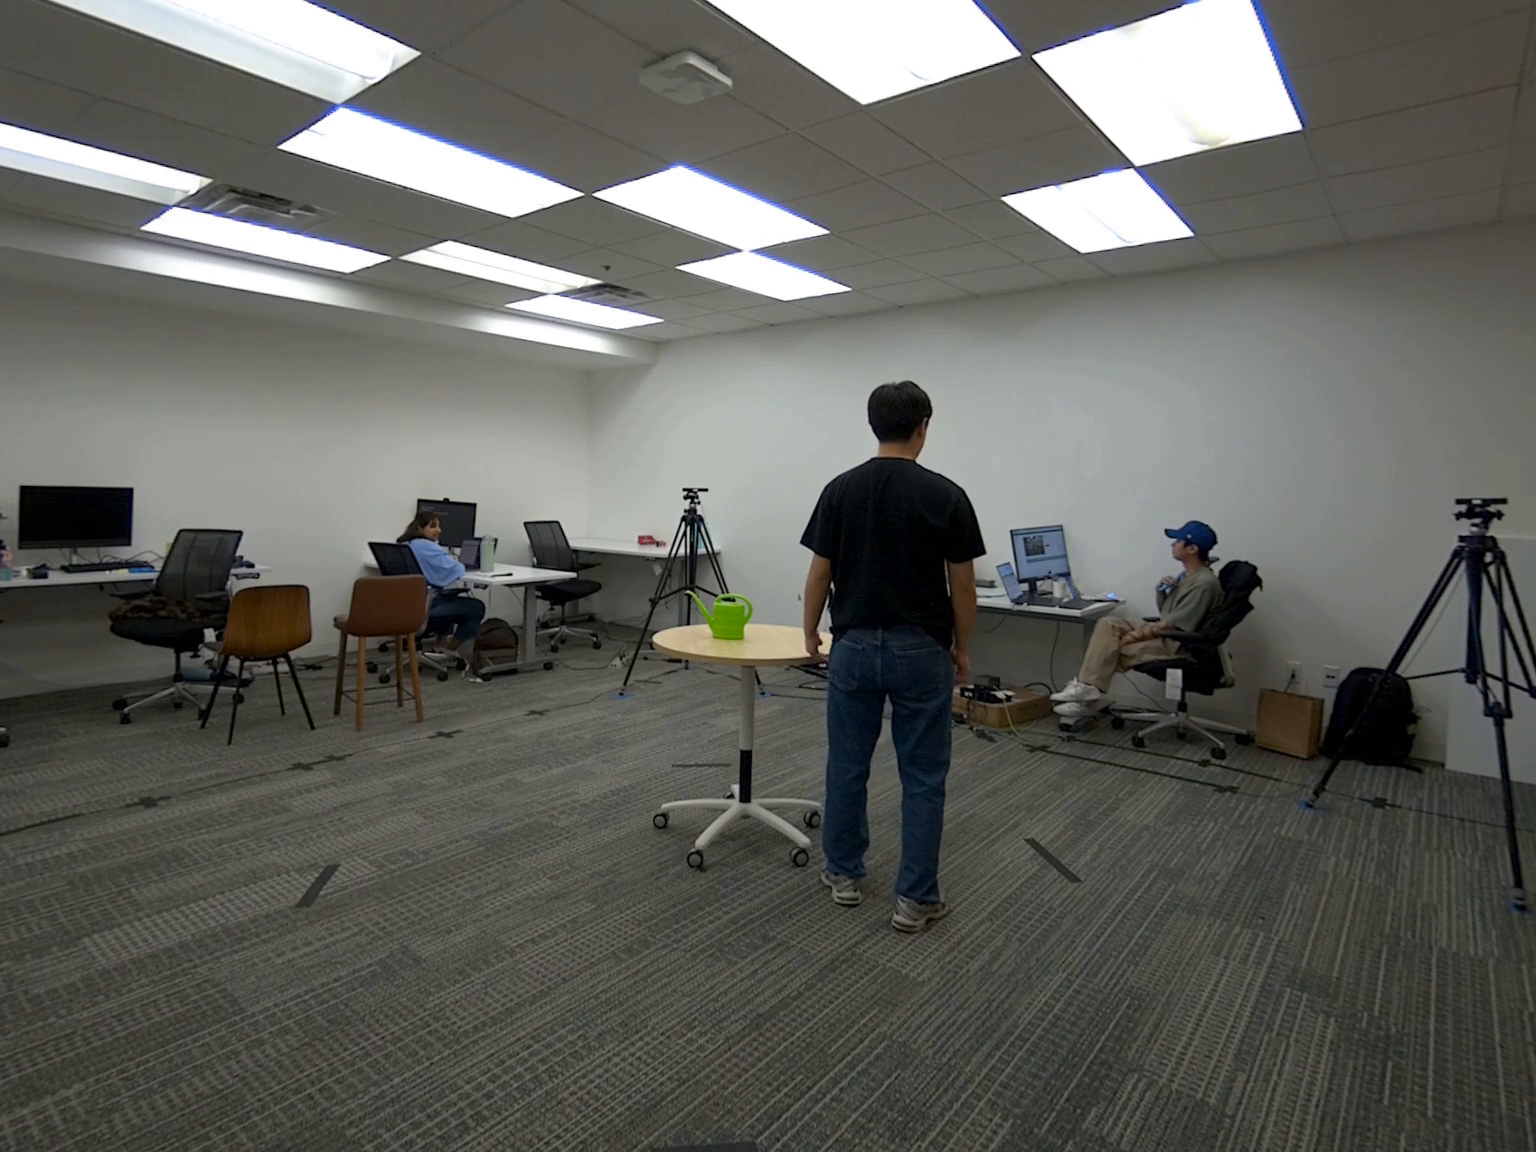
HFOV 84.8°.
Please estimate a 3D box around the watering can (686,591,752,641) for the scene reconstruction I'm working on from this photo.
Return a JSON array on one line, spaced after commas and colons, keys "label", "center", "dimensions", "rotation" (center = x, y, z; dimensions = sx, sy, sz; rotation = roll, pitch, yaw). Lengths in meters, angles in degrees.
[{"label": "watering can", "center": [-0.209, 0.152, 3.427], "dimensions": [0.285, 0.176, 0.096], "rotation": [7, 4, 24]}]
